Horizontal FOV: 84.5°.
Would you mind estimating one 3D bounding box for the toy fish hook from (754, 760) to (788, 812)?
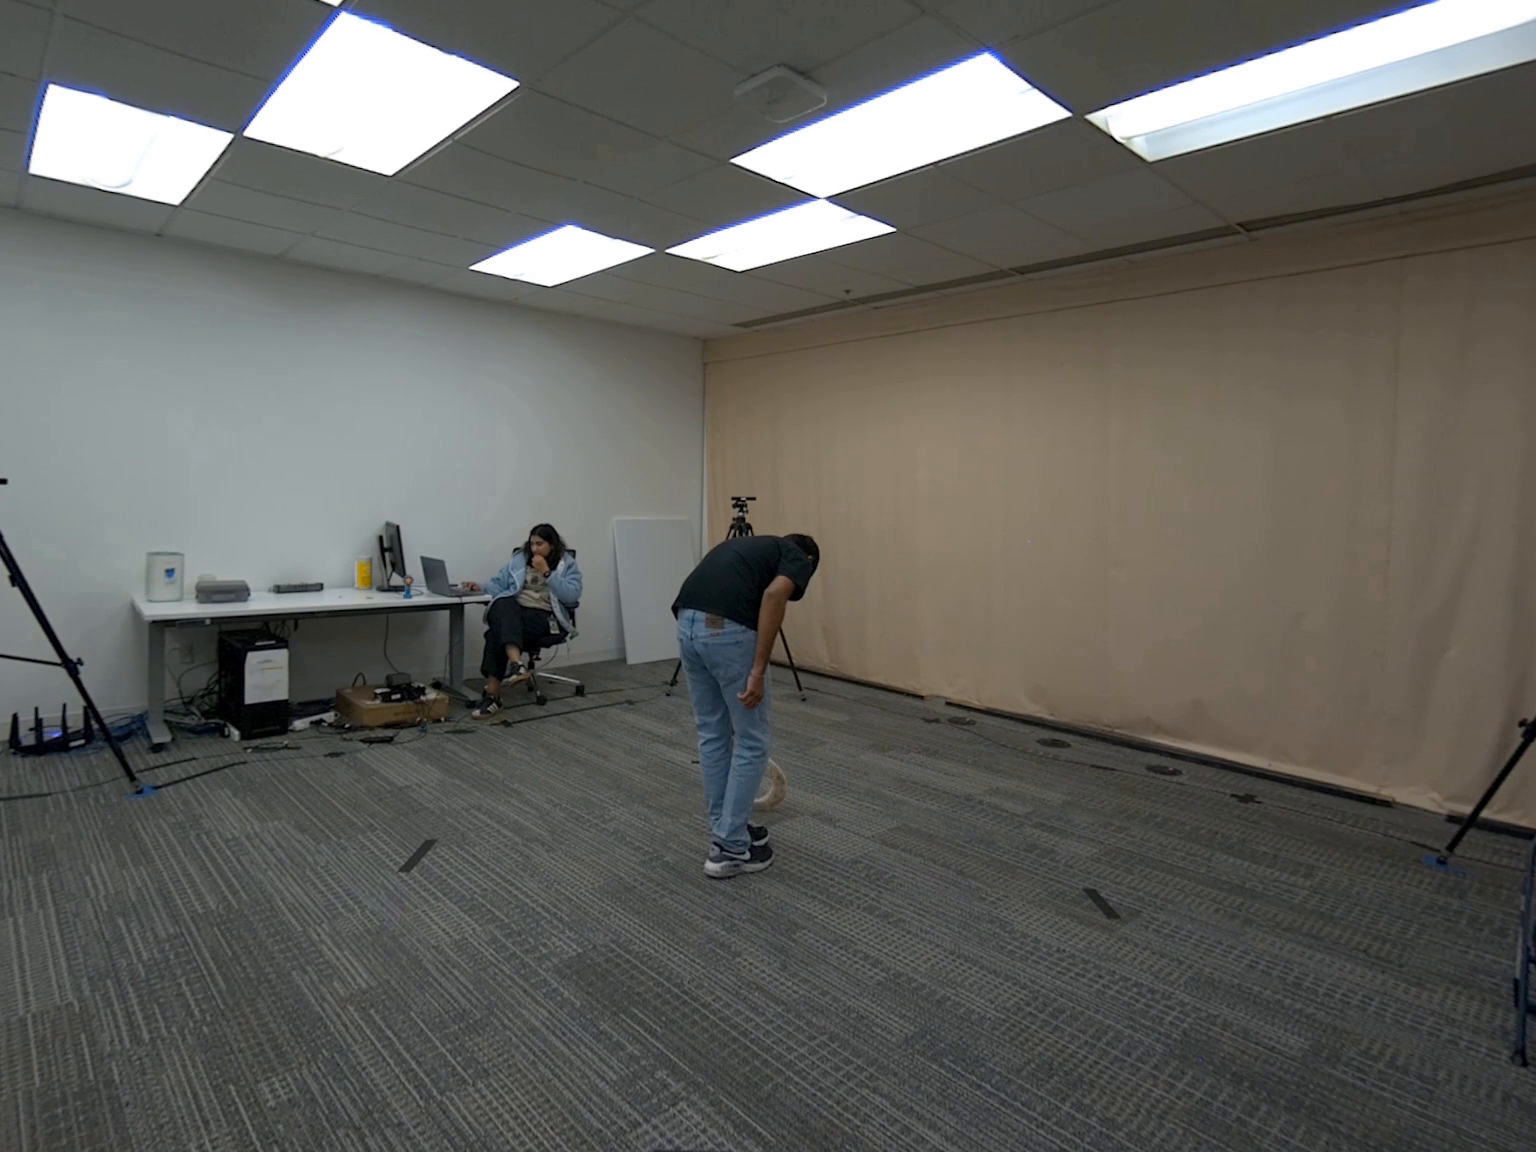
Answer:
[{"bbox_3d":[-0.113,0.826,3.757,0.224,0.505,0.048,-33,2,-3],"label":"toy fish hook"}]
